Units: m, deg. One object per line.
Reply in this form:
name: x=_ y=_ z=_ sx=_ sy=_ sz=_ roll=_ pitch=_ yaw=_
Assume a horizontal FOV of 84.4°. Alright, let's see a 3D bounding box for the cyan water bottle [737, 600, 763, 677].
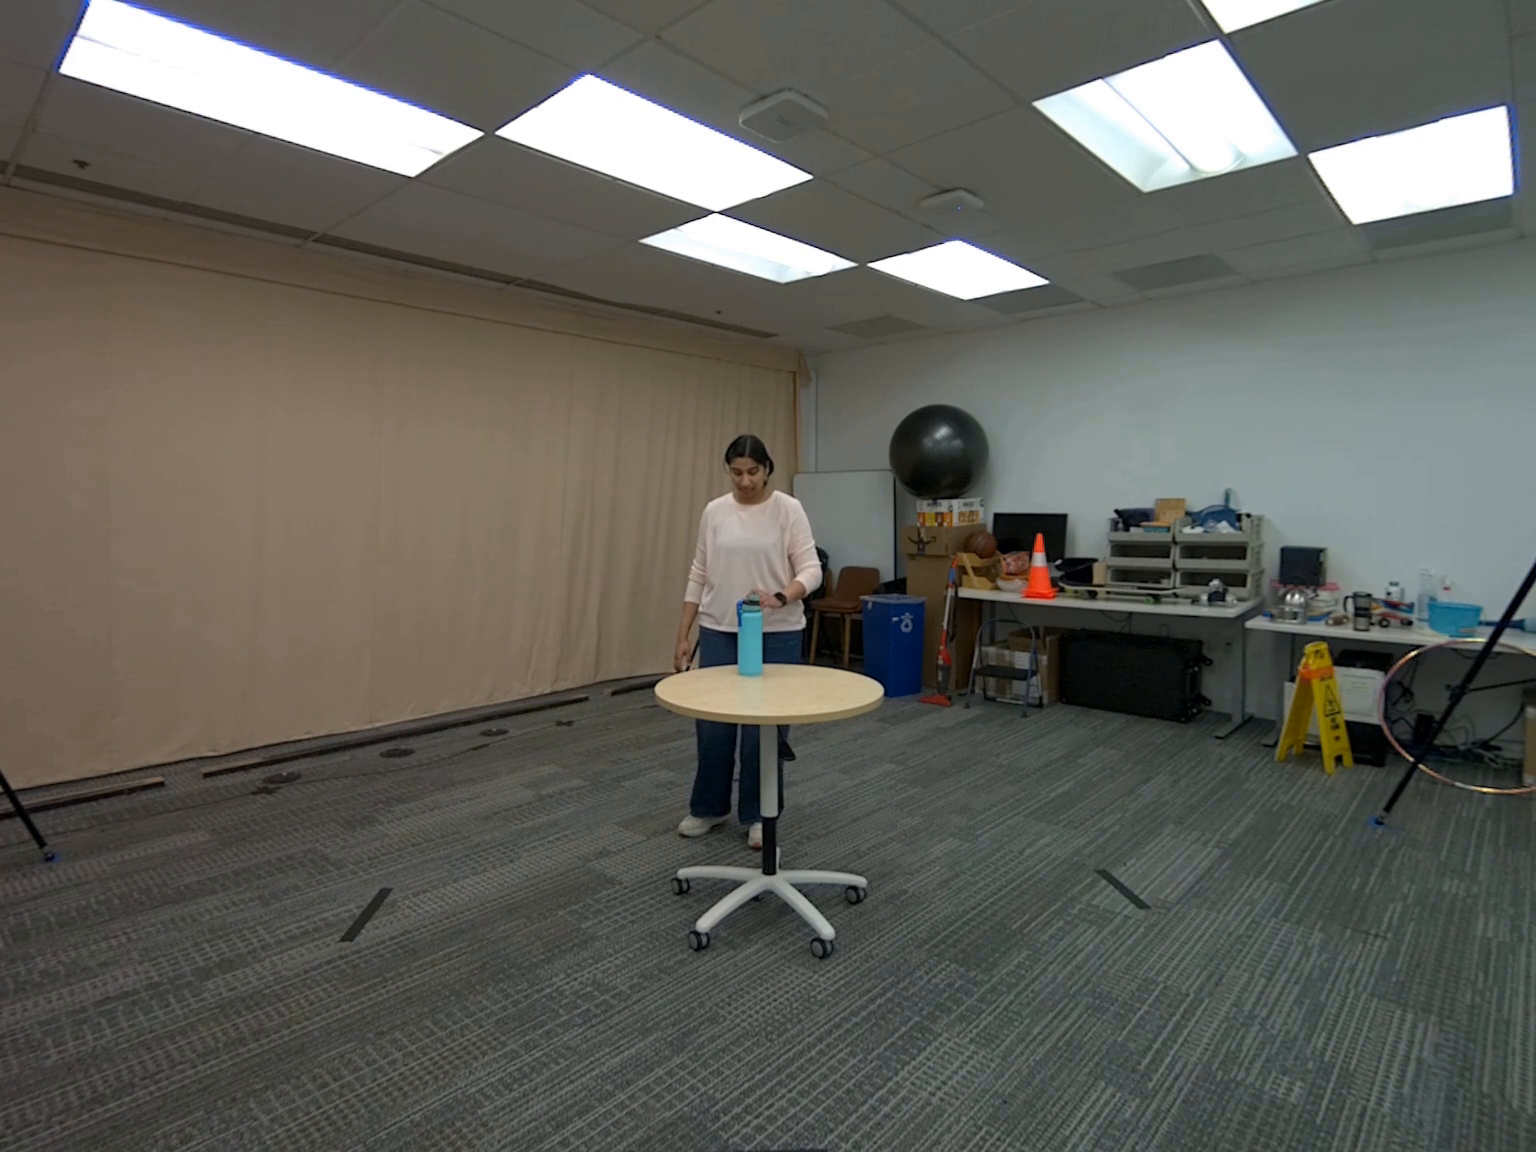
cyan water bottle: x=-0.067 y=0.216 z=3.040 sx=0.092 sy=0.283 sz=0.092 roll=-1 pitch=3 yaw=-2
